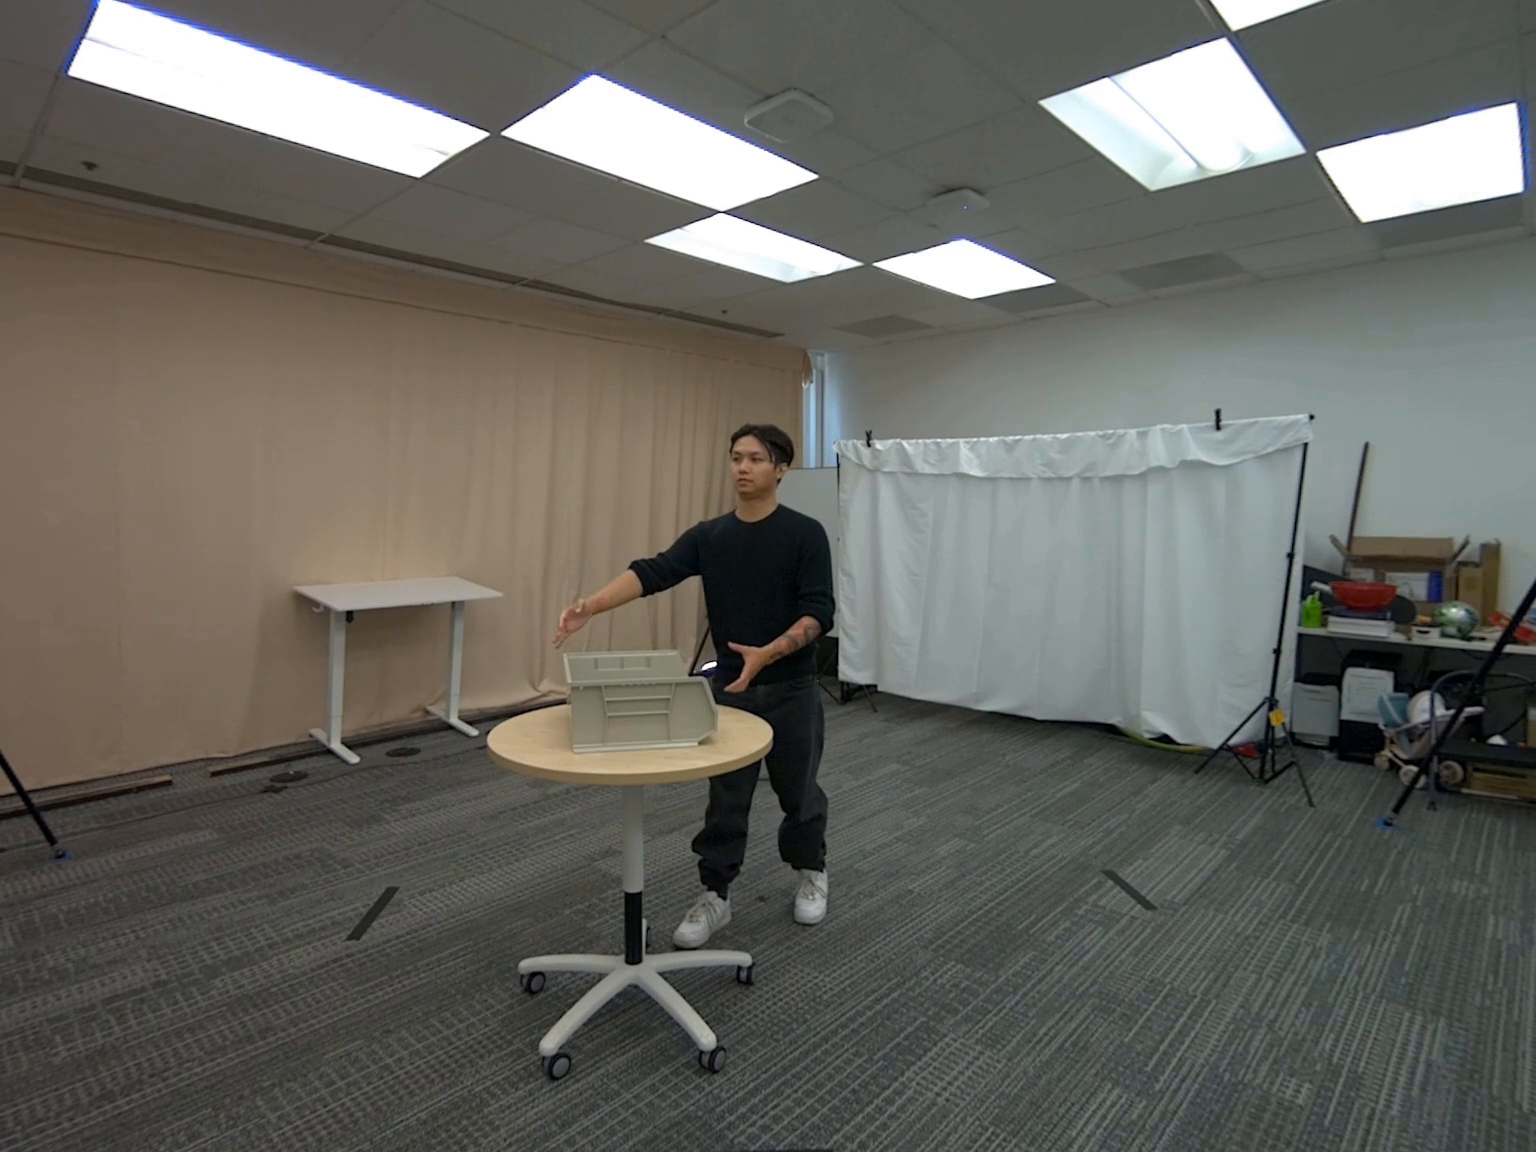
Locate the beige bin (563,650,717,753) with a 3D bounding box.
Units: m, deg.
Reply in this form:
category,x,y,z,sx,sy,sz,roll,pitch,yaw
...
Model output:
category,x,y,z,sx,sy,sz,roll,pitch,yaw
beige bin,-0.360,0.332,2.297,0.372,0.188,0.430,-2,5,-15
